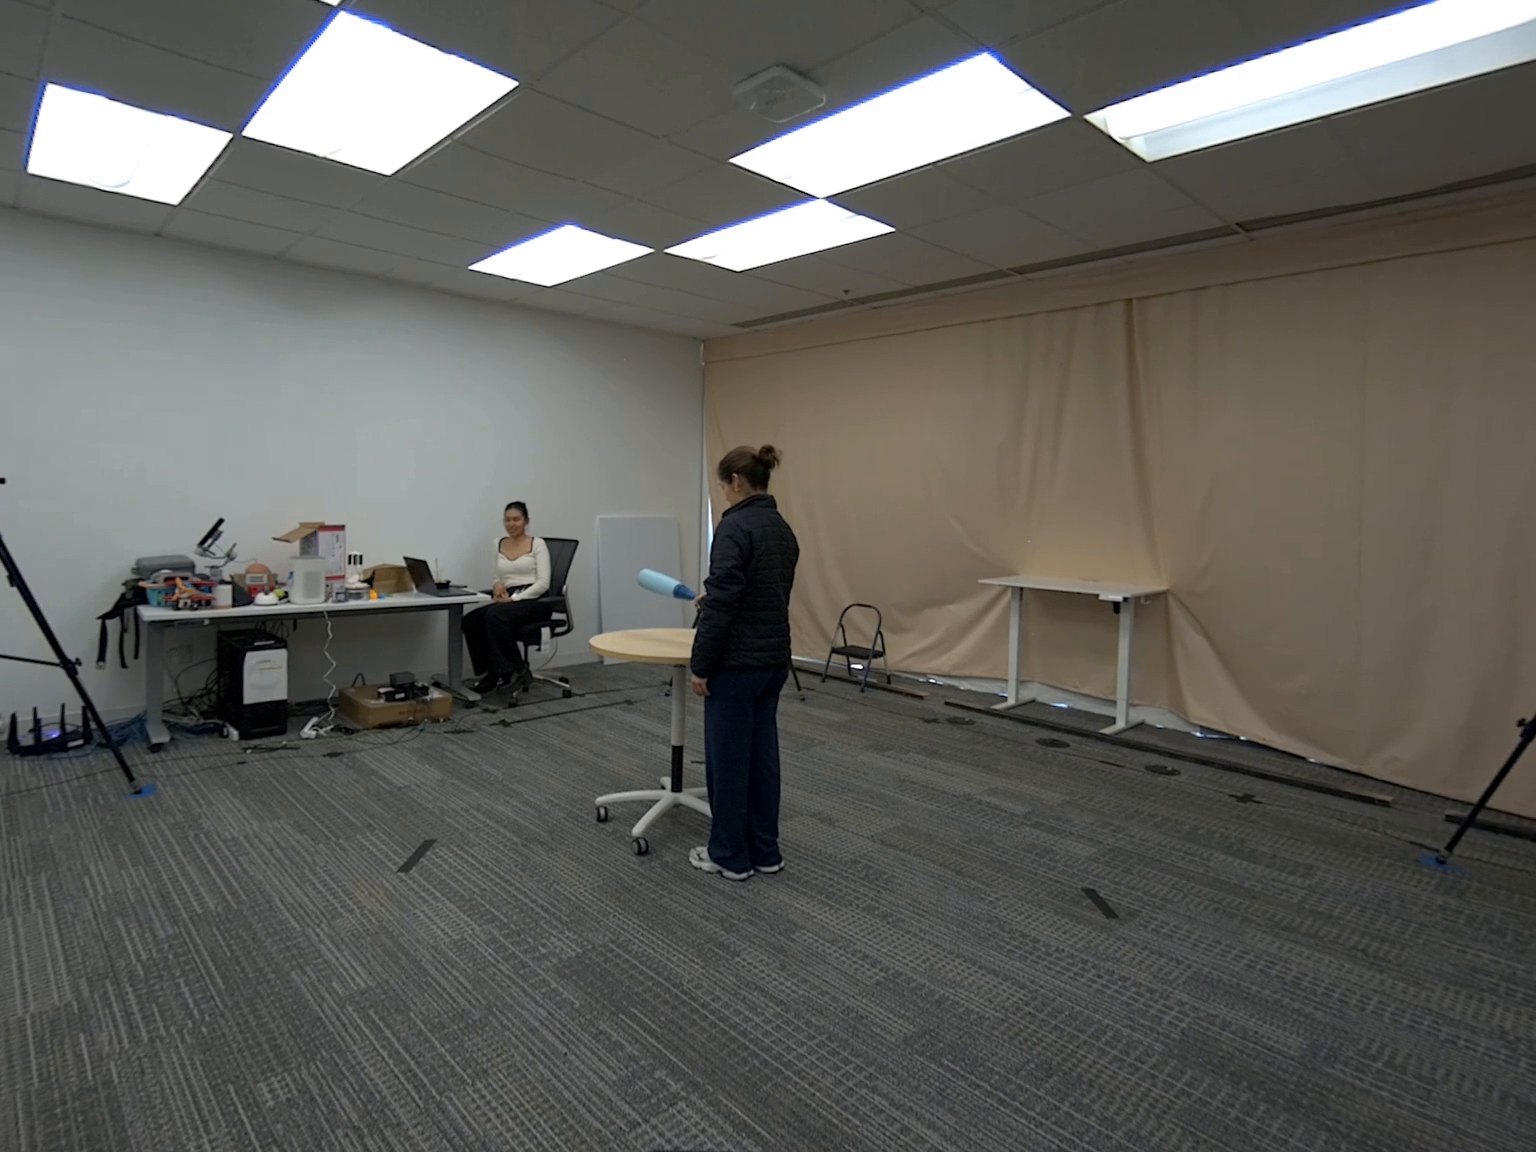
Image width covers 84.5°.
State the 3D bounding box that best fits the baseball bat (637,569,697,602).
[{"bbox_3d":[-0.367,0.082,3.558,0.087,0.088,0.559,-3,15,-44],"label":"baseball bat"}]
